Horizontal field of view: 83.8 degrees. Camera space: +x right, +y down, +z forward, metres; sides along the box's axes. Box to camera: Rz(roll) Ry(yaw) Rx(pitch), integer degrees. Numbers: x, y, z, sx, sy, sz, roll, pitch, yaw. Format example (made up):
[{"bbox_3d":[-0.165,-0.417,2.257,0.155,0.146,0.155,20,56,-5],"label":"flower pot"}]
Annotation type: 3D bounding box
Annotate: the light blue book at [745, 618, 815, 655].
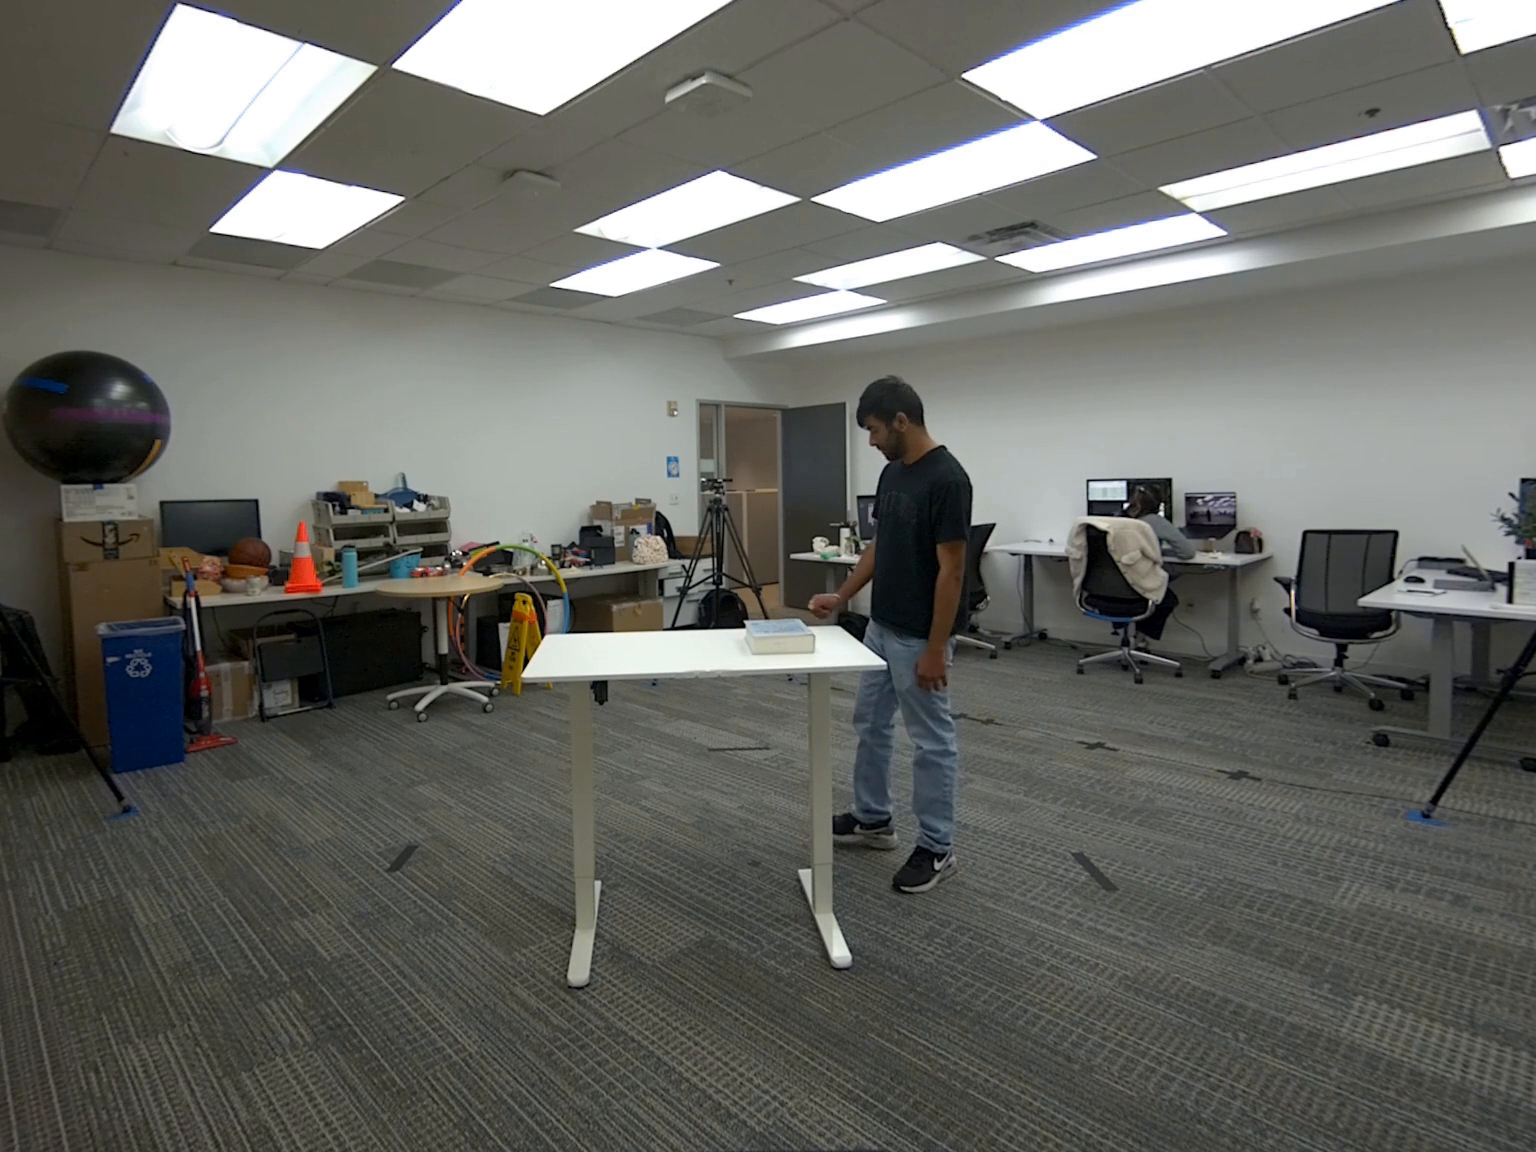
[{"bbox_3d":[0.033,0.187,2.636,0.190,0.059,0.263,-2,5,-6],"label":"light blue book"}]
